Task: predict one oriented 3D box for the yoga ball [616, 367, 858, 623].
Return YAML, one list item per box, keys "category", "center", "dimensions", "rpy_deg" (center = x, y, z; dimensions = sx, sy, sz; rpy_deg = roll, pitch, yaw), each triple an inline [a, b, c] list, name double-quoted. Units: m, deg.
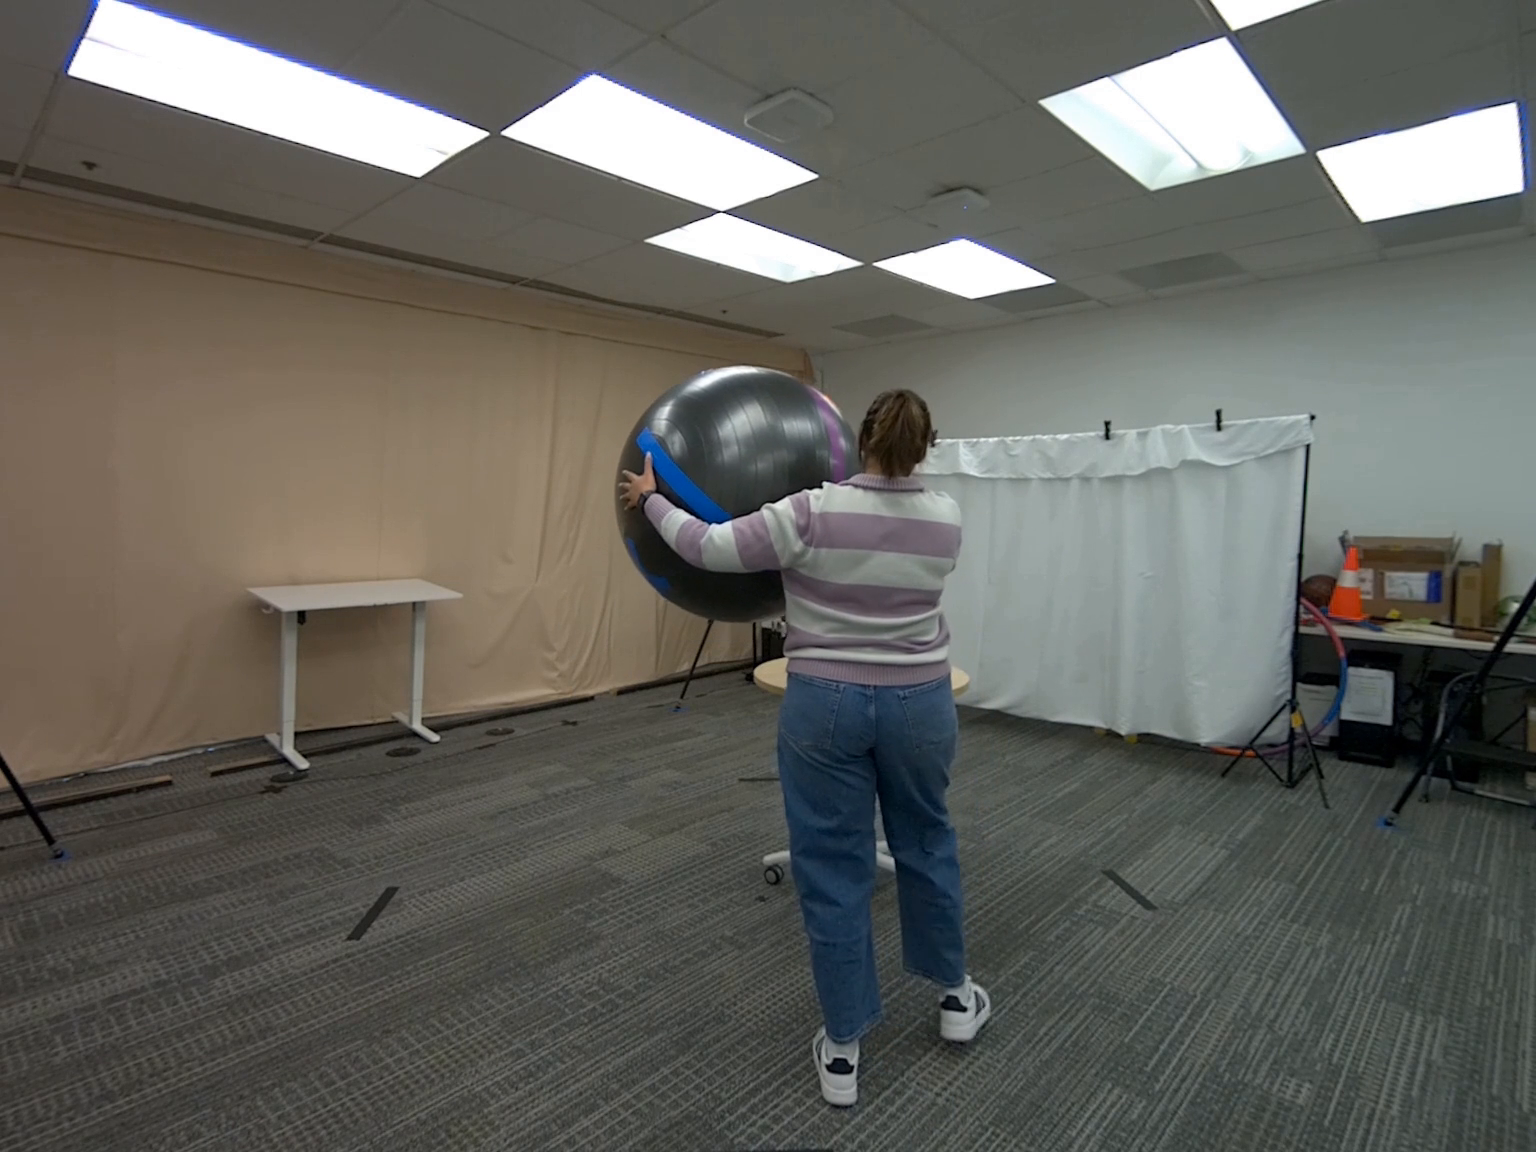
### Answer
- category: "yoga ball"
  center: [-0.075, -0.233, 2.524]
  dimensions: [0.757, 0.756, 0.760]
  rpy_deg: [0, 4, -2]
